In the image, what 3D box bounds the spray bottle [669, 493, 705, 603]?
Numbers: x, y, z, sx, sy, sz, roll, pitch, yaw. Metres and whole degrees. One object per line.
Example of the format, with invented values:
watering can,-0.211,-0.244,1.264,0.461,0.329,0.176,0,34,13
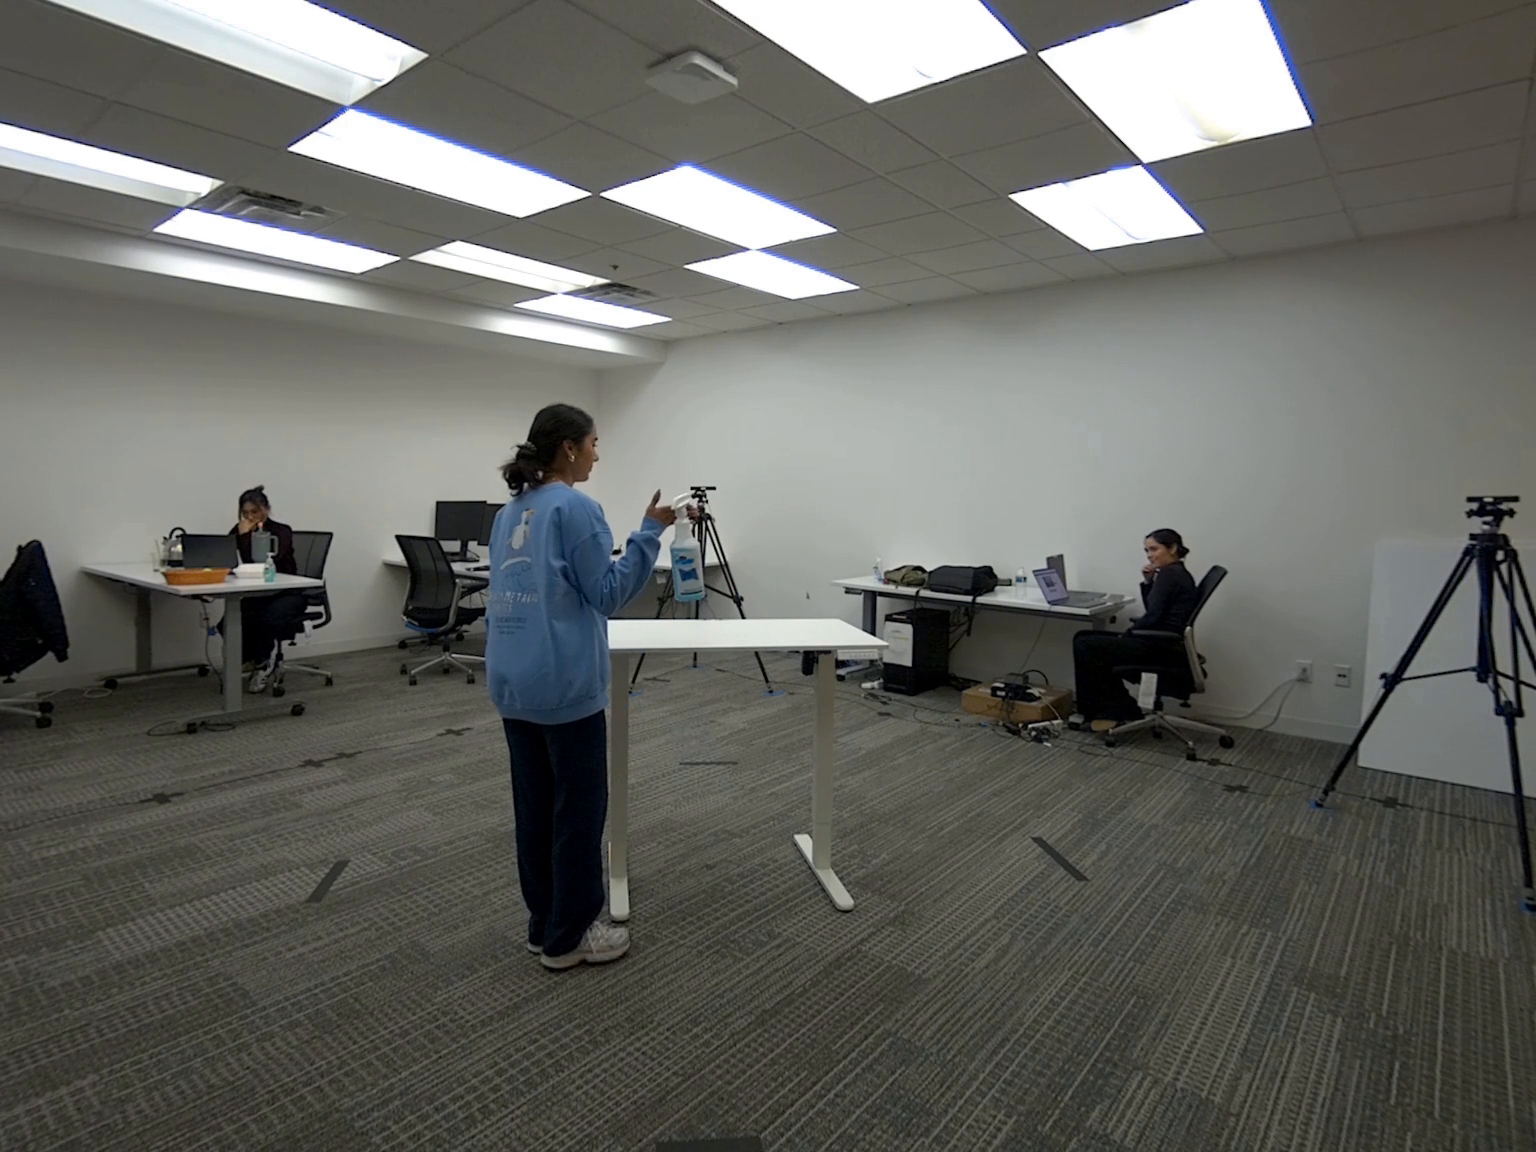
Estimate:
spray bottle,-0.250,-0.077,2.411,0.088,0.295,0.090,-8,9,-34
